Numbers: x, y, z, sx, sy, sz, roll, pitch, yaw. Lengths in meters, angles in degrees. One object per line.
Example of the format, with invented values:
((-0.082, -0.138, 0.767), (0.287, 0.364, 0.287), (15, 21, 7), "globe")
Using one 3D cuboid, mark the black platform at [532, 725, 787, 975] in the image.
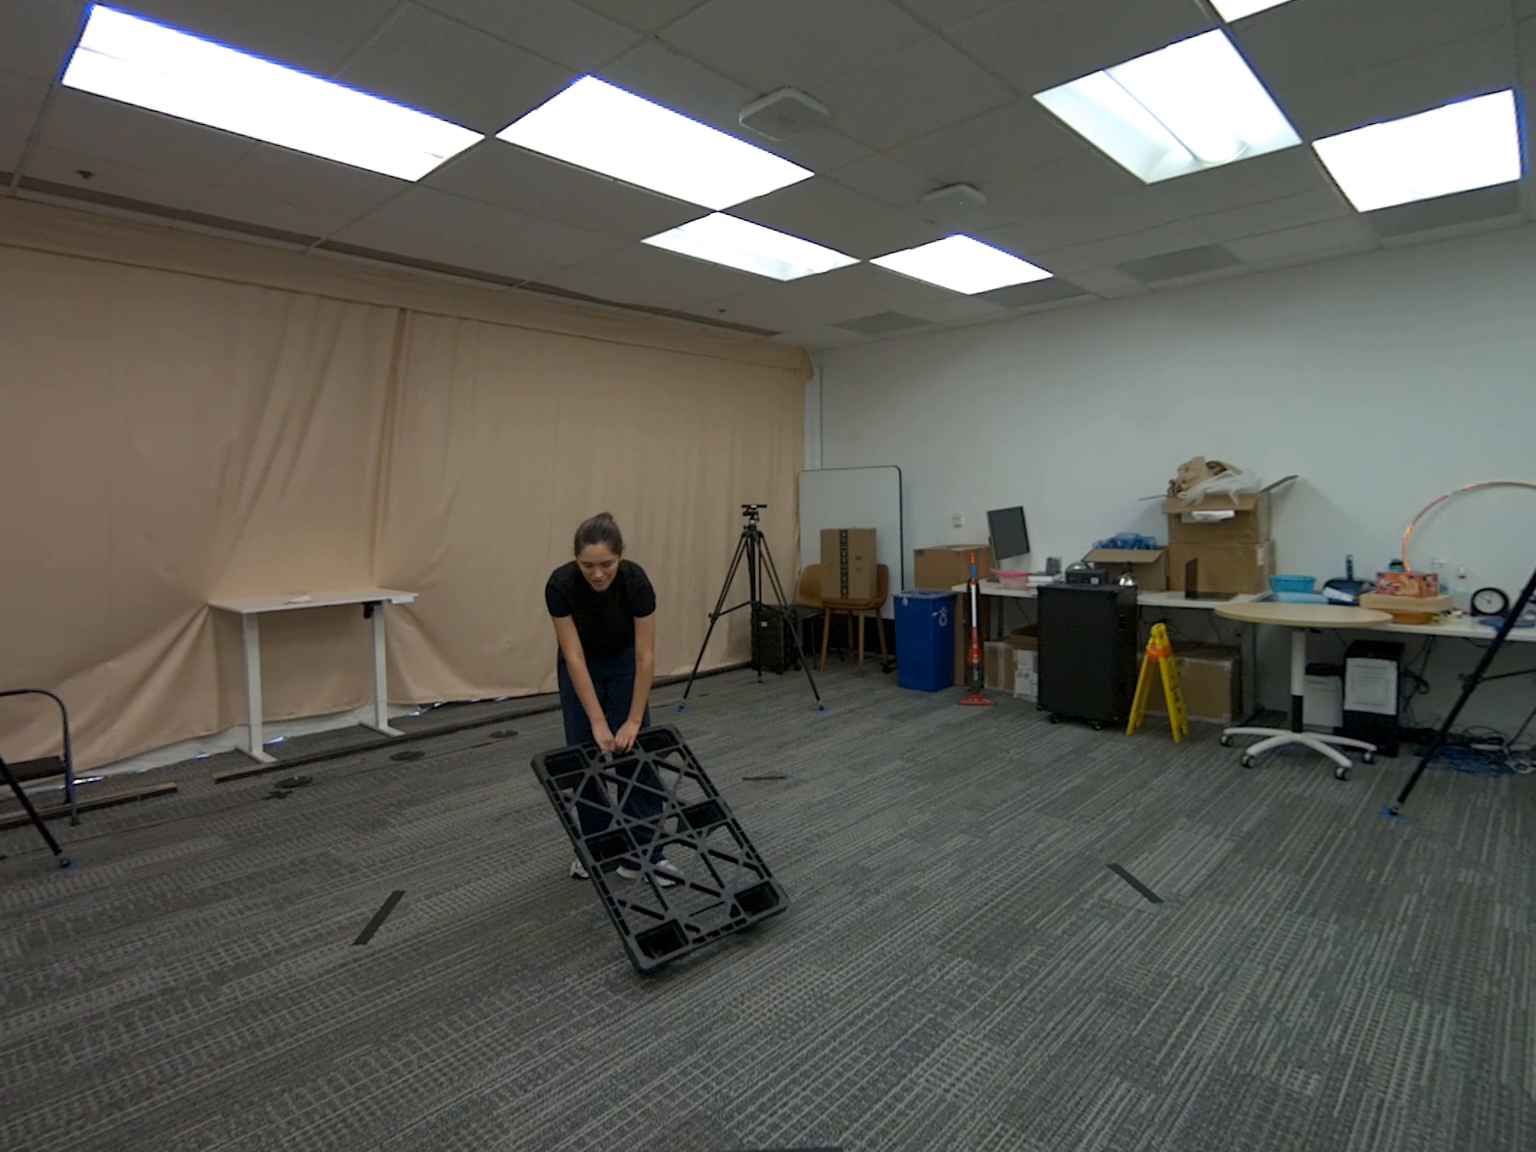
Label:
((-0.367, 0.883, 2.831), (0.587, 0.143, 0.832), (-5, 42, -42), "black platform")
